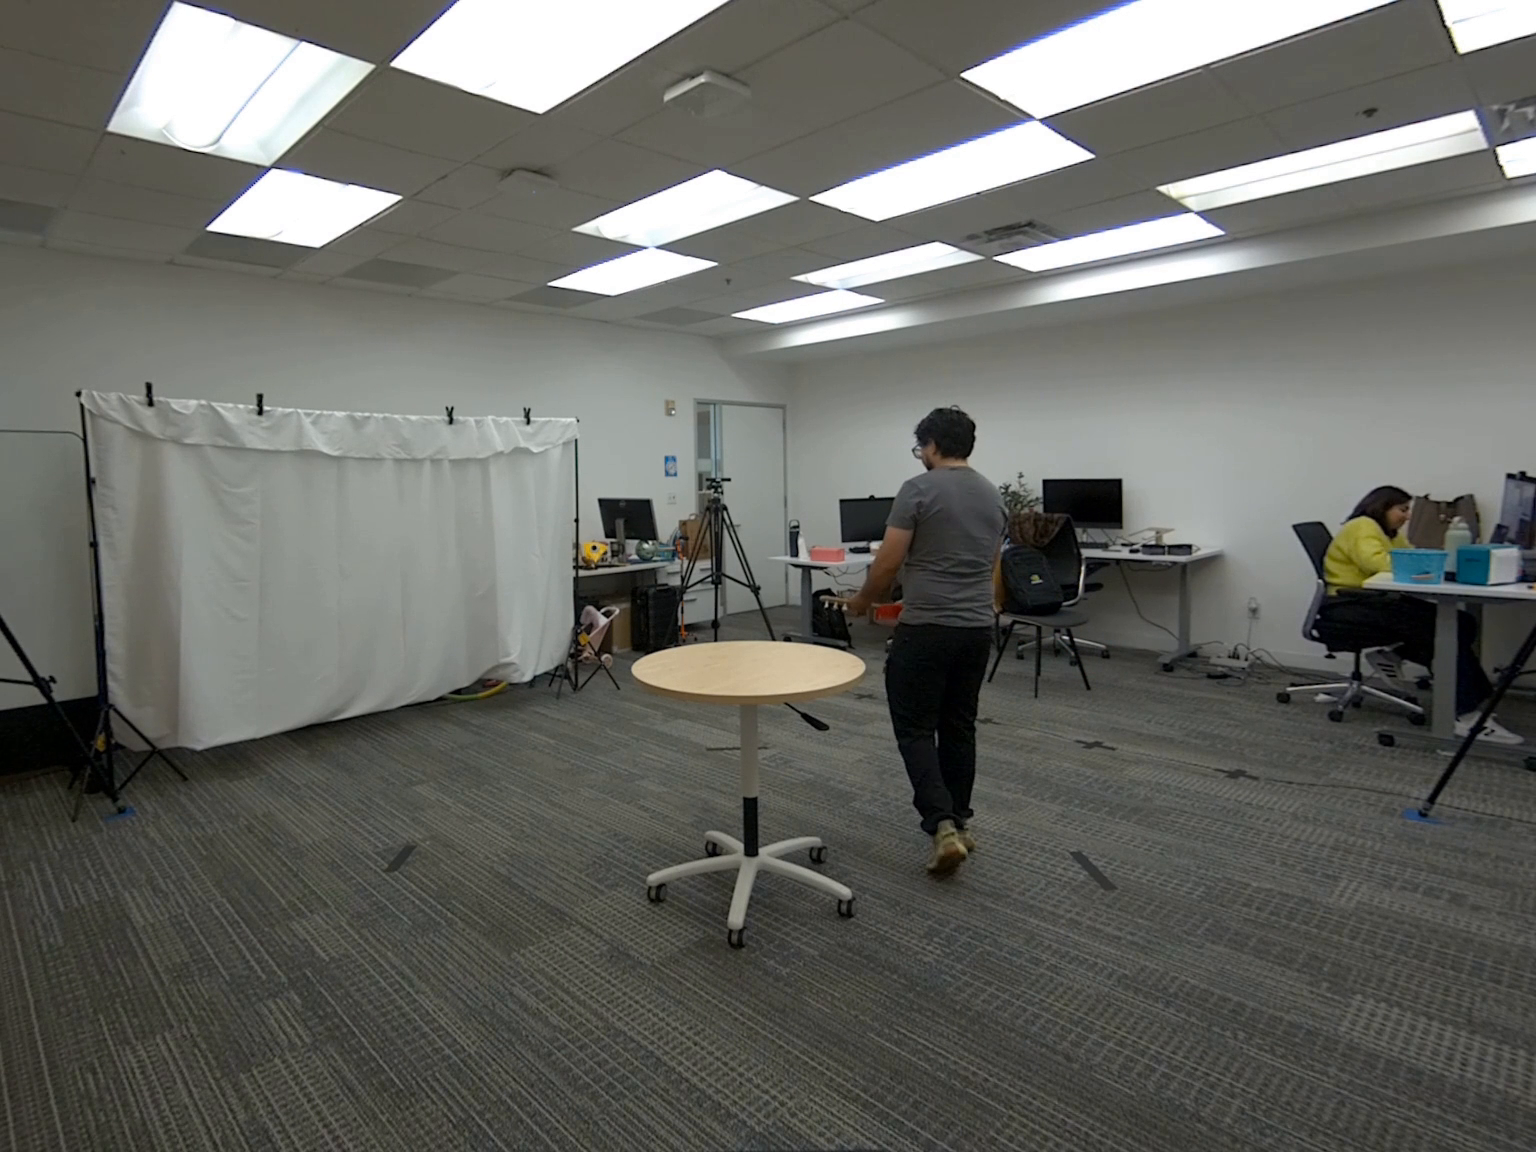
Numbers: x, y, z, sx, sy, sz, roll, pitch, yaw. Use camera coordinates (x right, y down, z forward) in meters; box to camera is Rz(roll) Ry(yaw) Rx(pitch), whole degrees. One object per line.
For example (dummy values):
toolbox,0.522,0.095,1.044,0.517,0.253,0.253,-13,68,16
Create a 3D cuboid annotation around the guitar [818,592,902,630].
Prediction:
guitar,0.457,0.150,3.438,0.503,0.071,0.189,7,-15,9
